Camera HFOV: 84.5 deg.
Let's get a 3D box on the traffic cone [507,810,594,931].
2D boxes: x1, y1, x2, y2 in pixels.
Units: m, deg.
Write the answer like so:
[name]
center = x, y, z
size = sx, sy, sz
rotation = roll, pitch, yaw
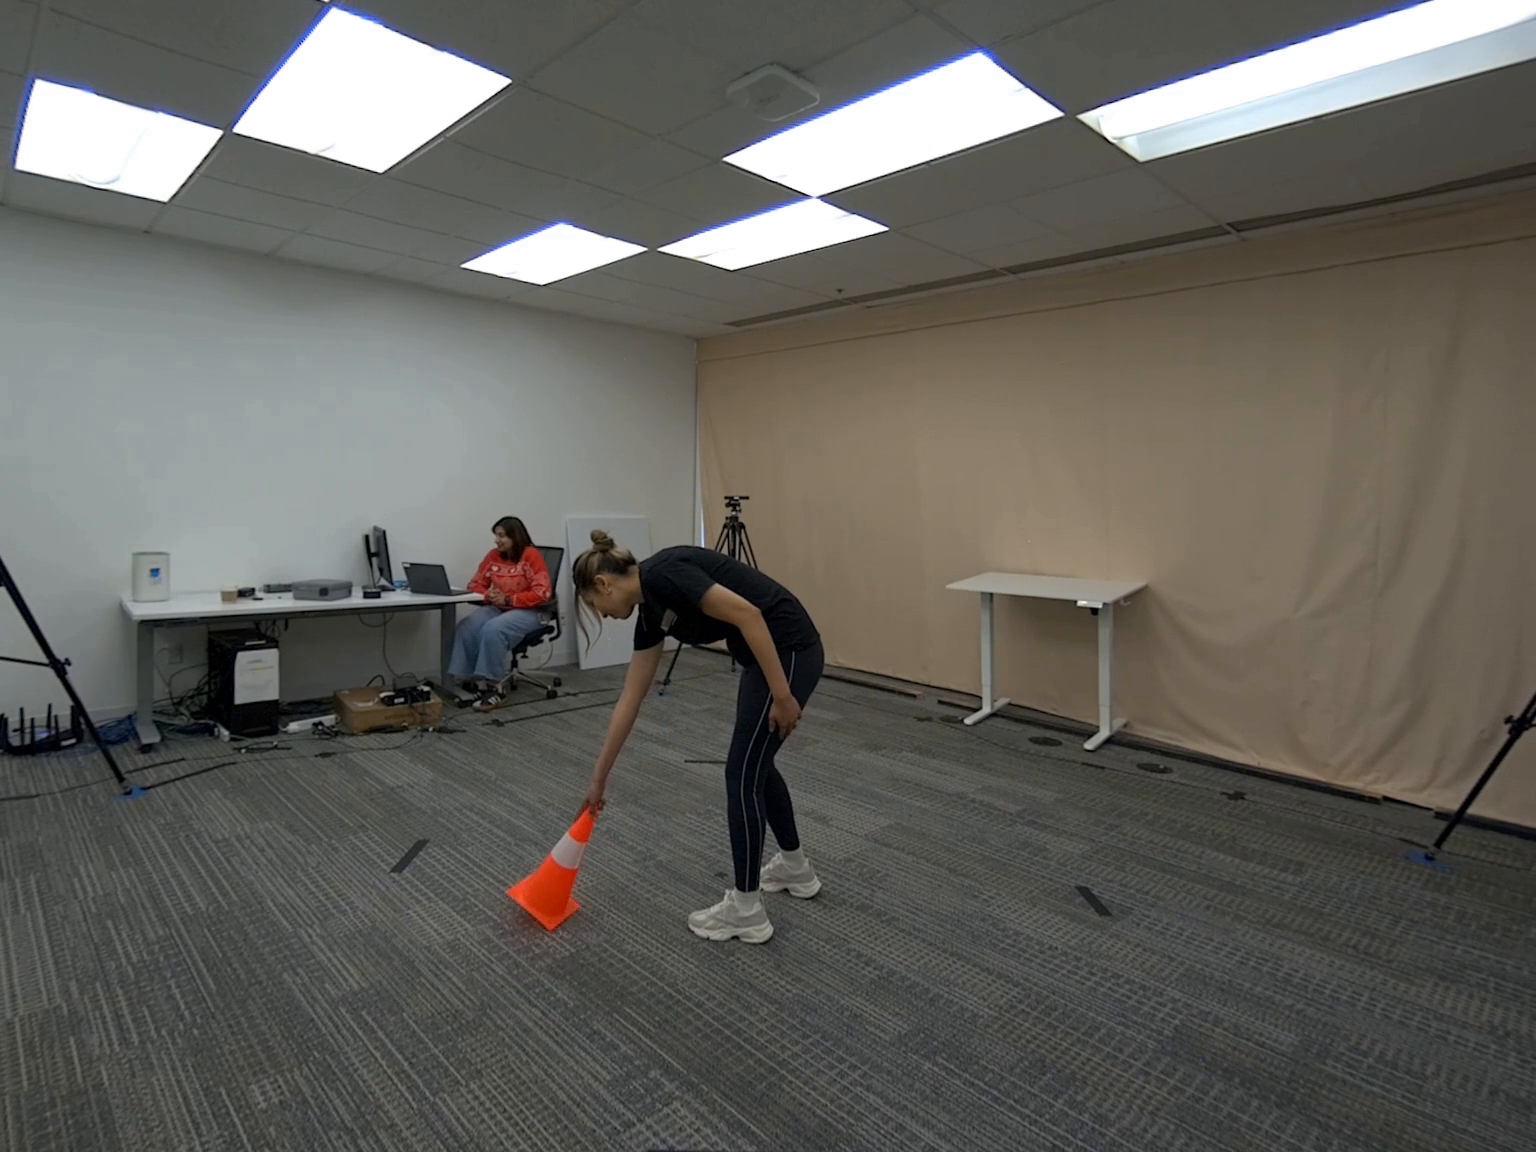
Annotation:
[traffic cone]
center = -0.650, 0.920, 2.751
size = 0.209, 0.382, 0.200
rotation = 31, 11, 17
